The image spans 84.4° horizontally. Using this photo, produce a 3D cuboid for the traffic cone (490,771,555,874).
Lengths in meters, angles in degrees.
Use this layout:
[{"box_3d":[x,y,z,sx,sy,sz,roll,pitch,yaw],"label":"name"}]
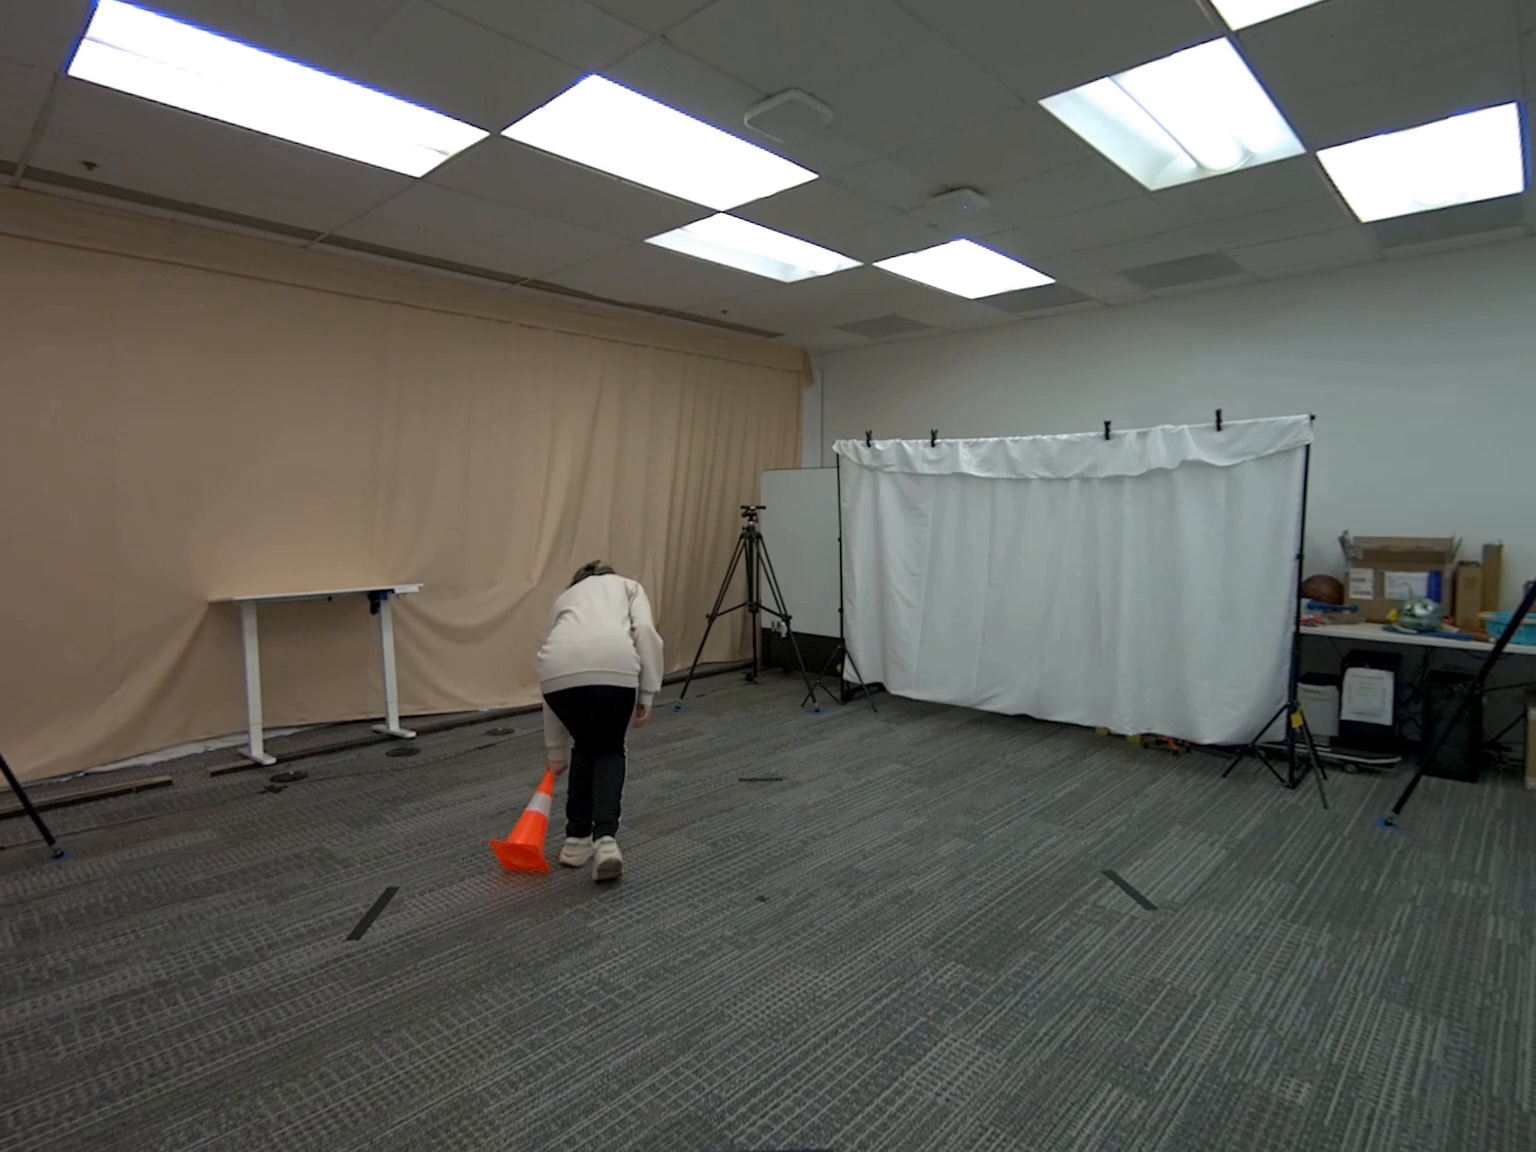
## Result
[{"box_3d":[-0.920,0.937,3.308,0.208,0.198,0.388,-3,40,13],"label":"traffic cone"}]
